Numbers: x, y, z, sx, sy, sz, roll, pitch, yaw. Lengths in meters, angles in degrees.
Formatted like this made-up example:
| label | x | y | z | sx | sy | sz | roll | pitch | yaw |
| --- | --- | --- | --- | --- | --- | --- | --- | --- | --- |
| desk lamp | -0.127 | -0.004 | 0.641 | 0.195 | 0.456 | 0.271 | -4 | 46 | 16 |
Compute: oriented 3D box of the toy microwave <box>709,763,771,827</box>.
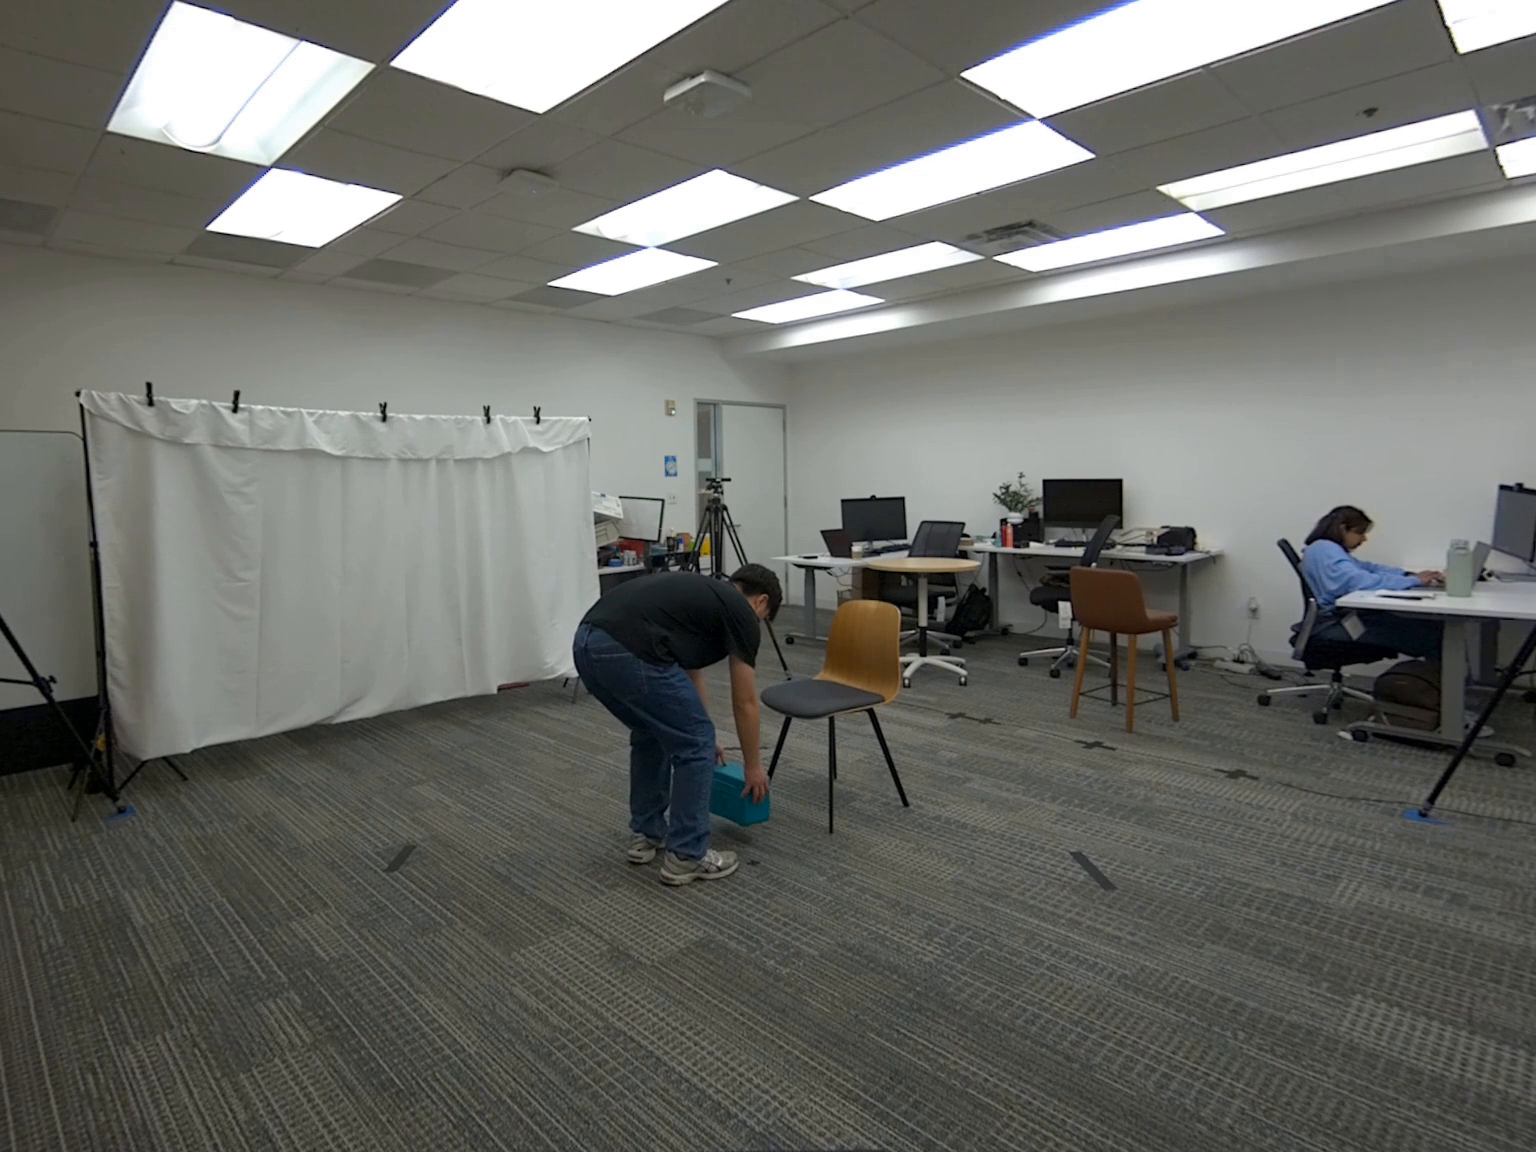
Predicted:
| label | x | y | z | sx | sy | sz | roll | pitch | yaw |
| --- | --- | --- | --- | --- | --- | --- | --- | --- | --- |
| toy microwave | -0.115 | 0.852 | 3.357 | 0.148 | 0.184 | 0.294 | -1 | 1 | -35 |
